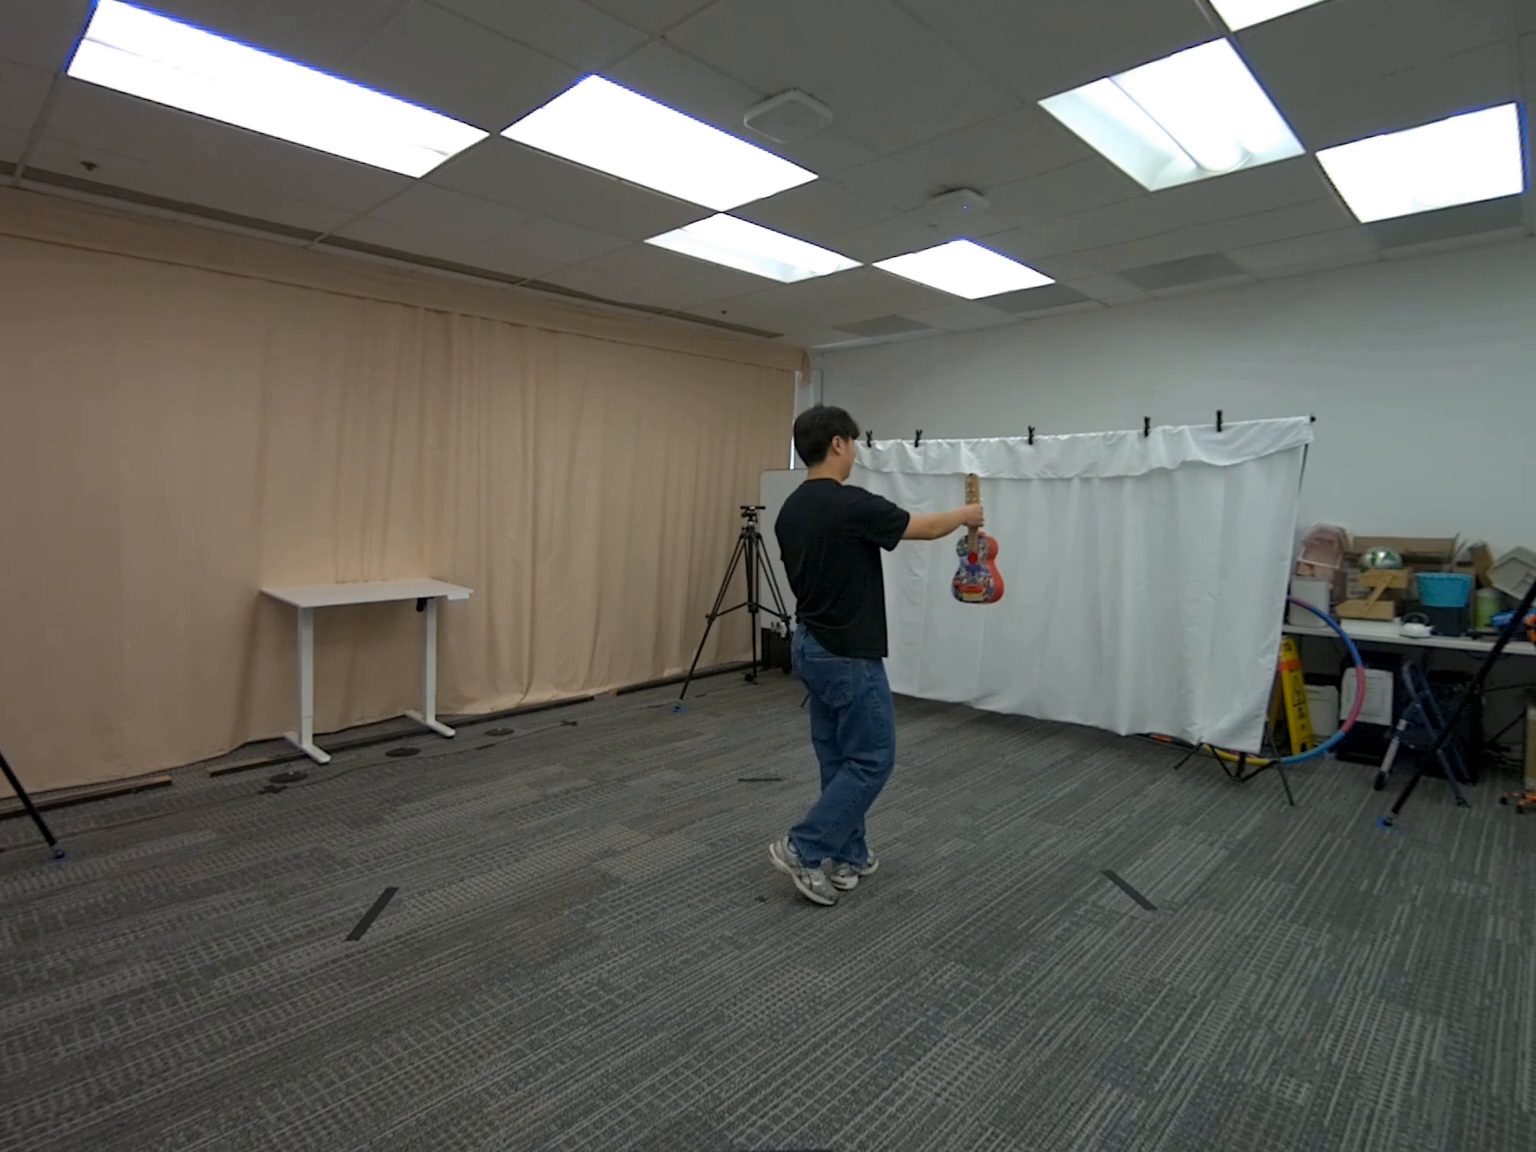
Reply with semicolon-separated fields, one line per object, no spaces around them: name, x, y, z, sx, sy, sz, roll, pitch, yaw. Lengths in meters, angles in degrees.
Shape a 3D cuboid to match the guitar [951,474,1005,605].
guitar;0.818;-0.136;3.215;0.068;0.497;0.200;3;4;-42
